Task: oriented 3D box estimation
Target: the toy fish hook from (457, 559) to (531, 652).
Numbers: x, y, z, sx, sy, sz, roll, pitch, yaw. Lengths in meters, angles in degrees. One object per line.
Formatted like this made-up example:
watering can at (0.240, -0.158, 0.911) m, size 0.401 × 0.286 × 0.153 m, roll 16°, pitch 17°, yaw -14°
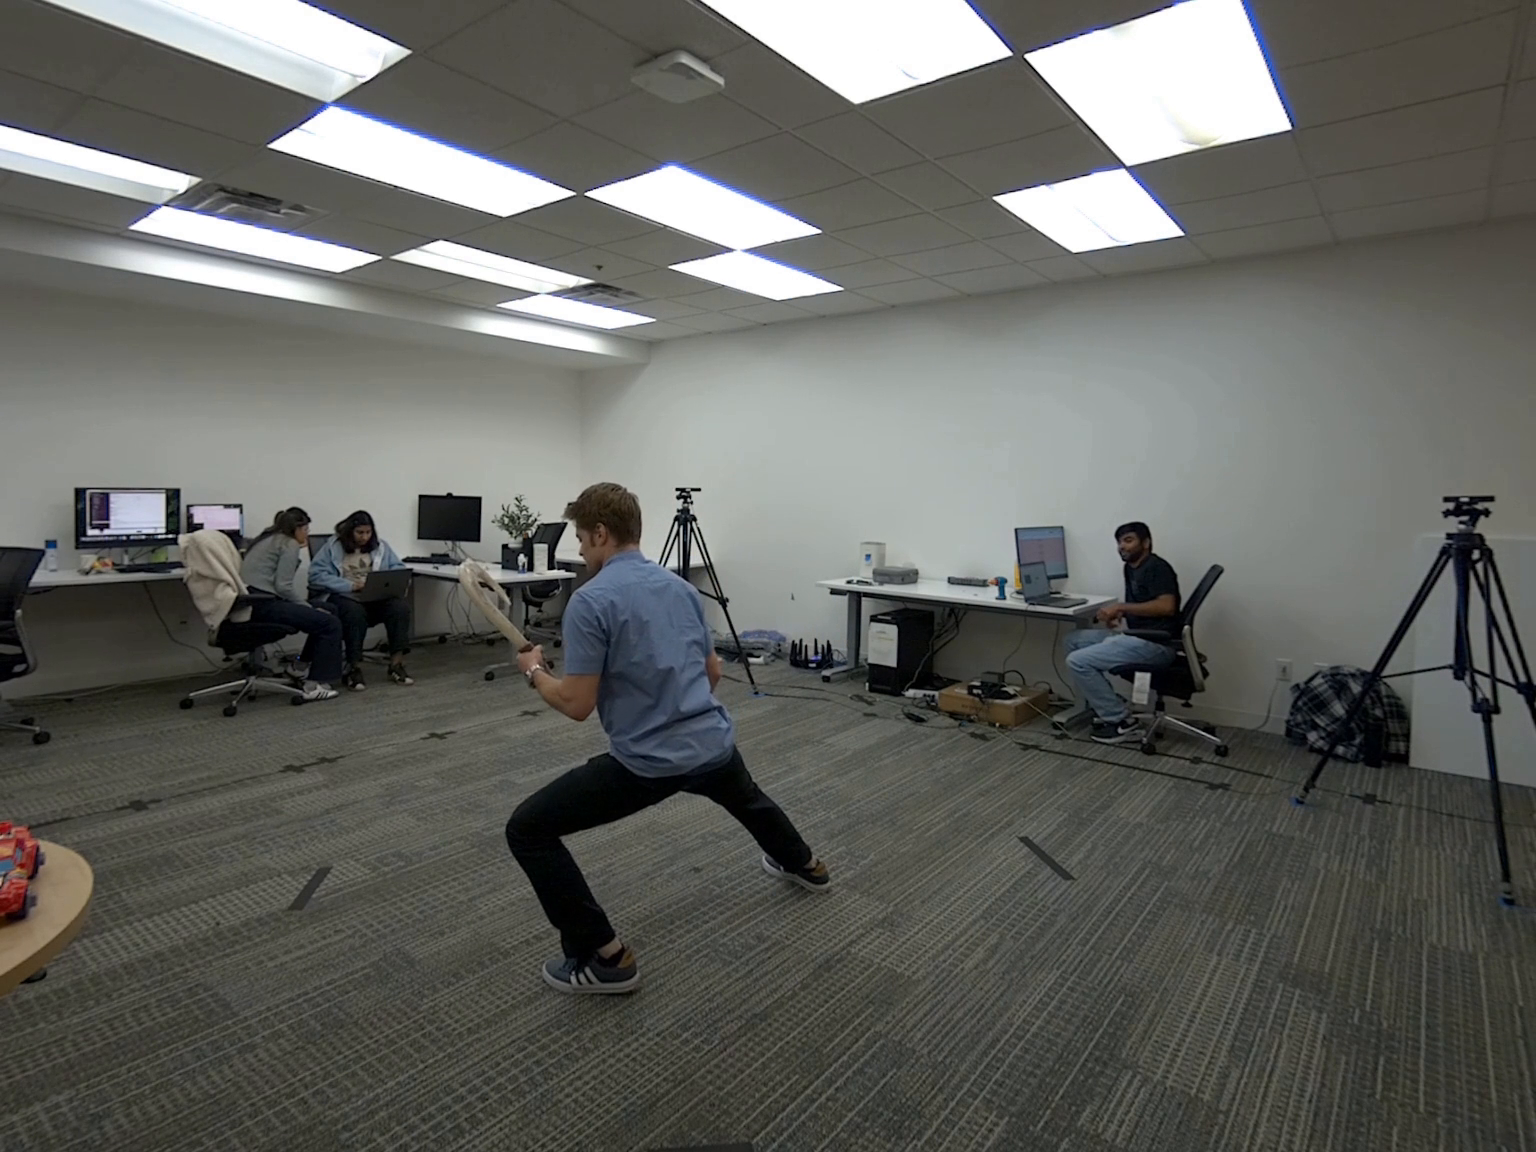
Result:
toy fish hook at (-0.786, 0.155, 2.609) m, size 0.048 × 0.498 × 0.228 m, roll -34°, pitch 12°, yaw 7°
